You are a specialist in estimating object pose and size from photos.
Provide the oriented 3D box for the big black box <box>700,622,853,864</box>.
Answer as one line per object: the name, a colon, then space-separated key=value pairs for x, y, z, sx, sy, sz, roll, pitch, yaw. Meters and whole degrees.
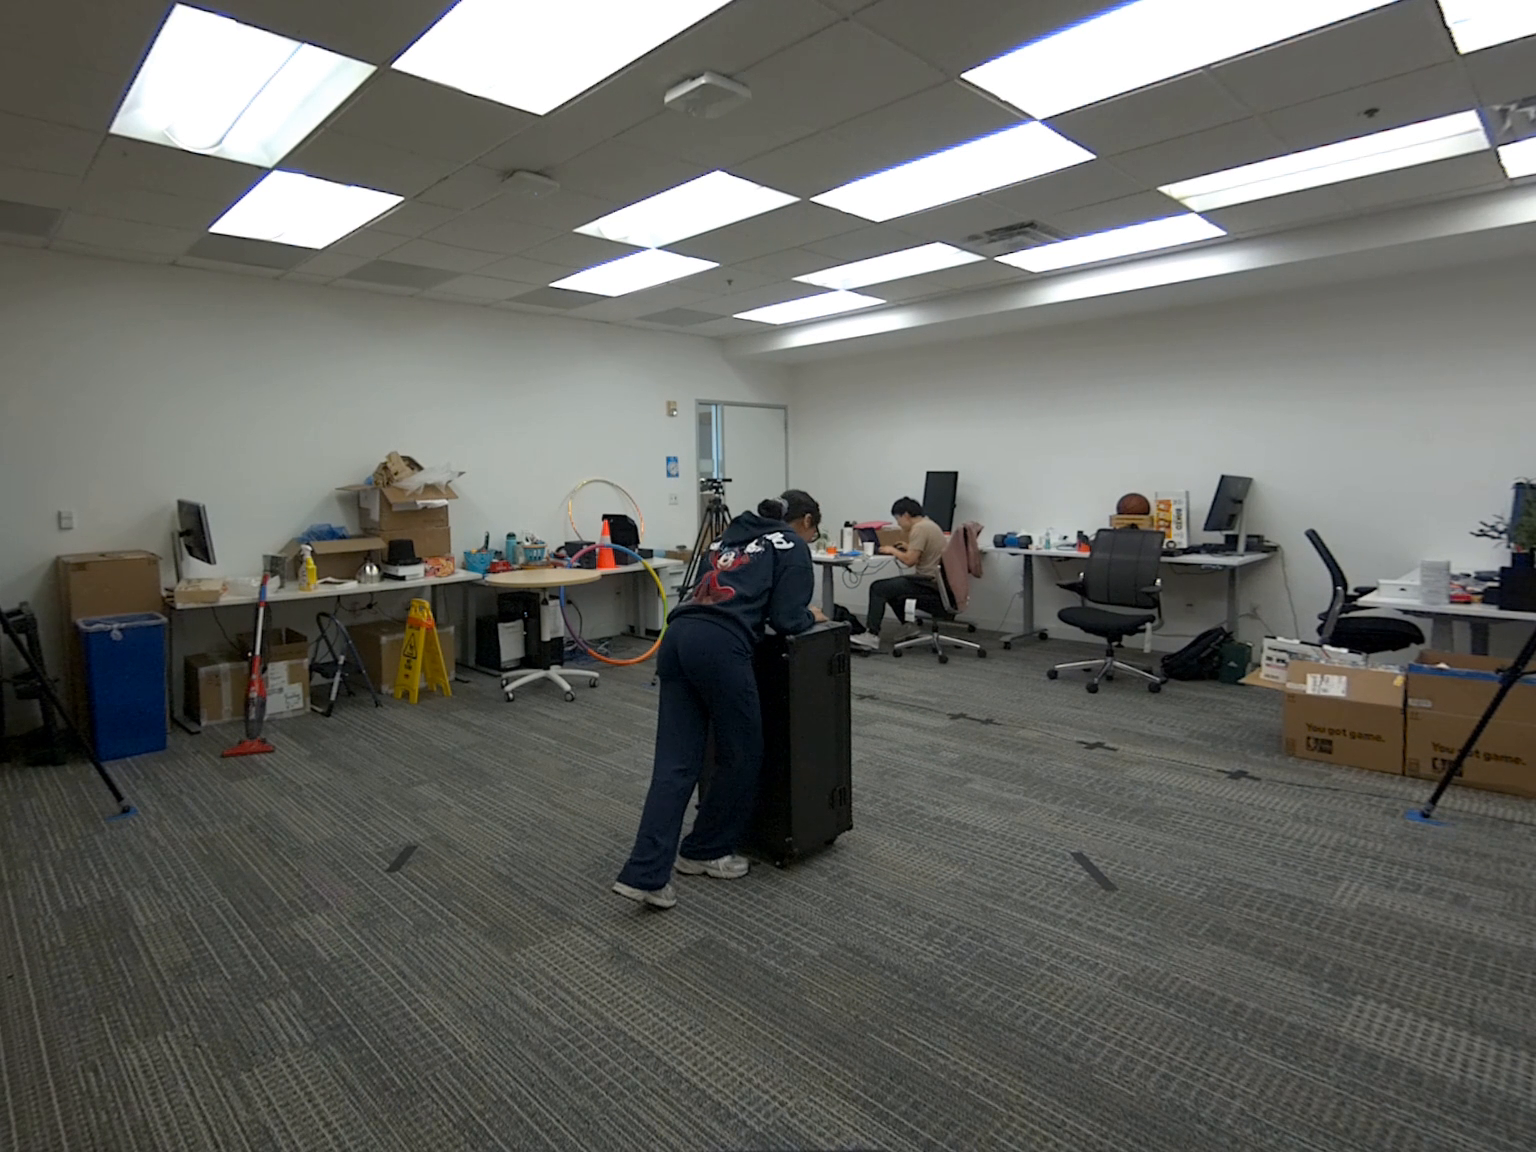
big black box: x=0.021 y=0.604 z=3.245 sx=0.537 sy=0.857 sz=0.386 roll=5 pitch=7 yaw=43
